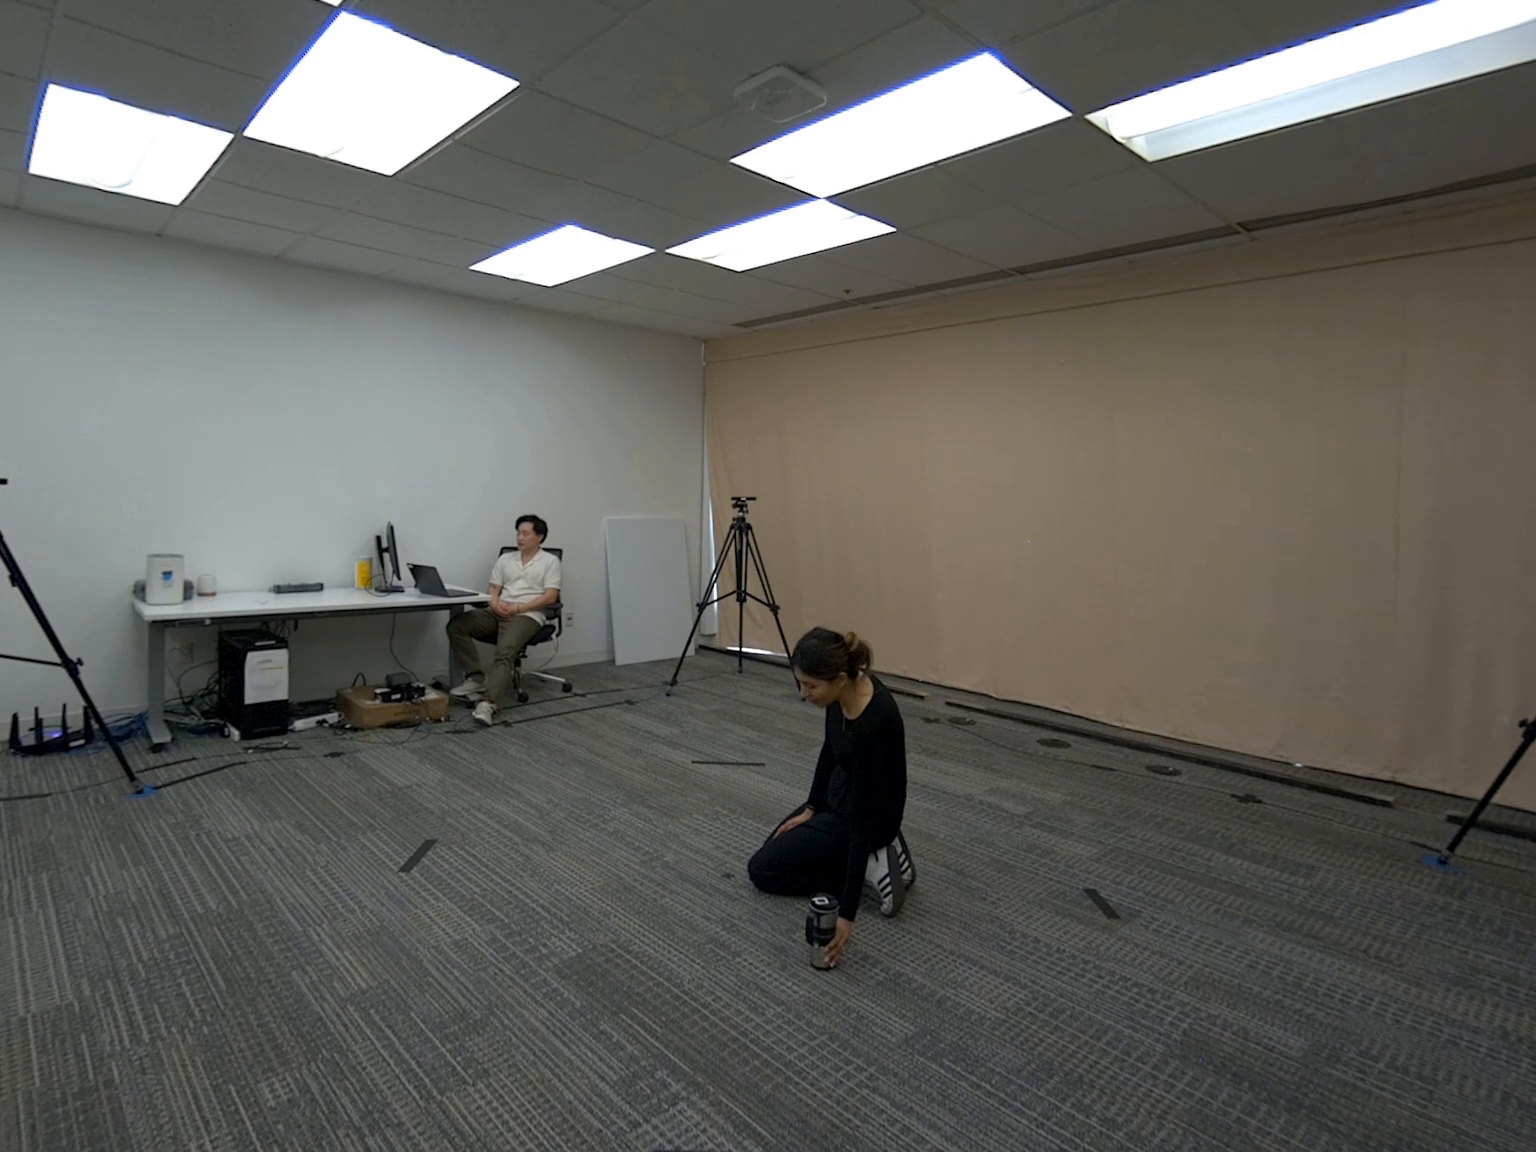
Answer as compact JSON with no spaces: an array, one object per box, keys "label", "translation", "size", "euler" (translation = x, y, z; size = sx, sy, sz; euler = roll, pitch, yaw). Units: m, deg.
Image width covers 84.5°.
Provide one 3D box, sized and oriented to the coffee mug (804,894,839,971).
[{"label":"coffee mug","translation":[0.142,1.074,2.499],"size":[0.119,0.203,0.090],"euler":[8,2,-30]}]
